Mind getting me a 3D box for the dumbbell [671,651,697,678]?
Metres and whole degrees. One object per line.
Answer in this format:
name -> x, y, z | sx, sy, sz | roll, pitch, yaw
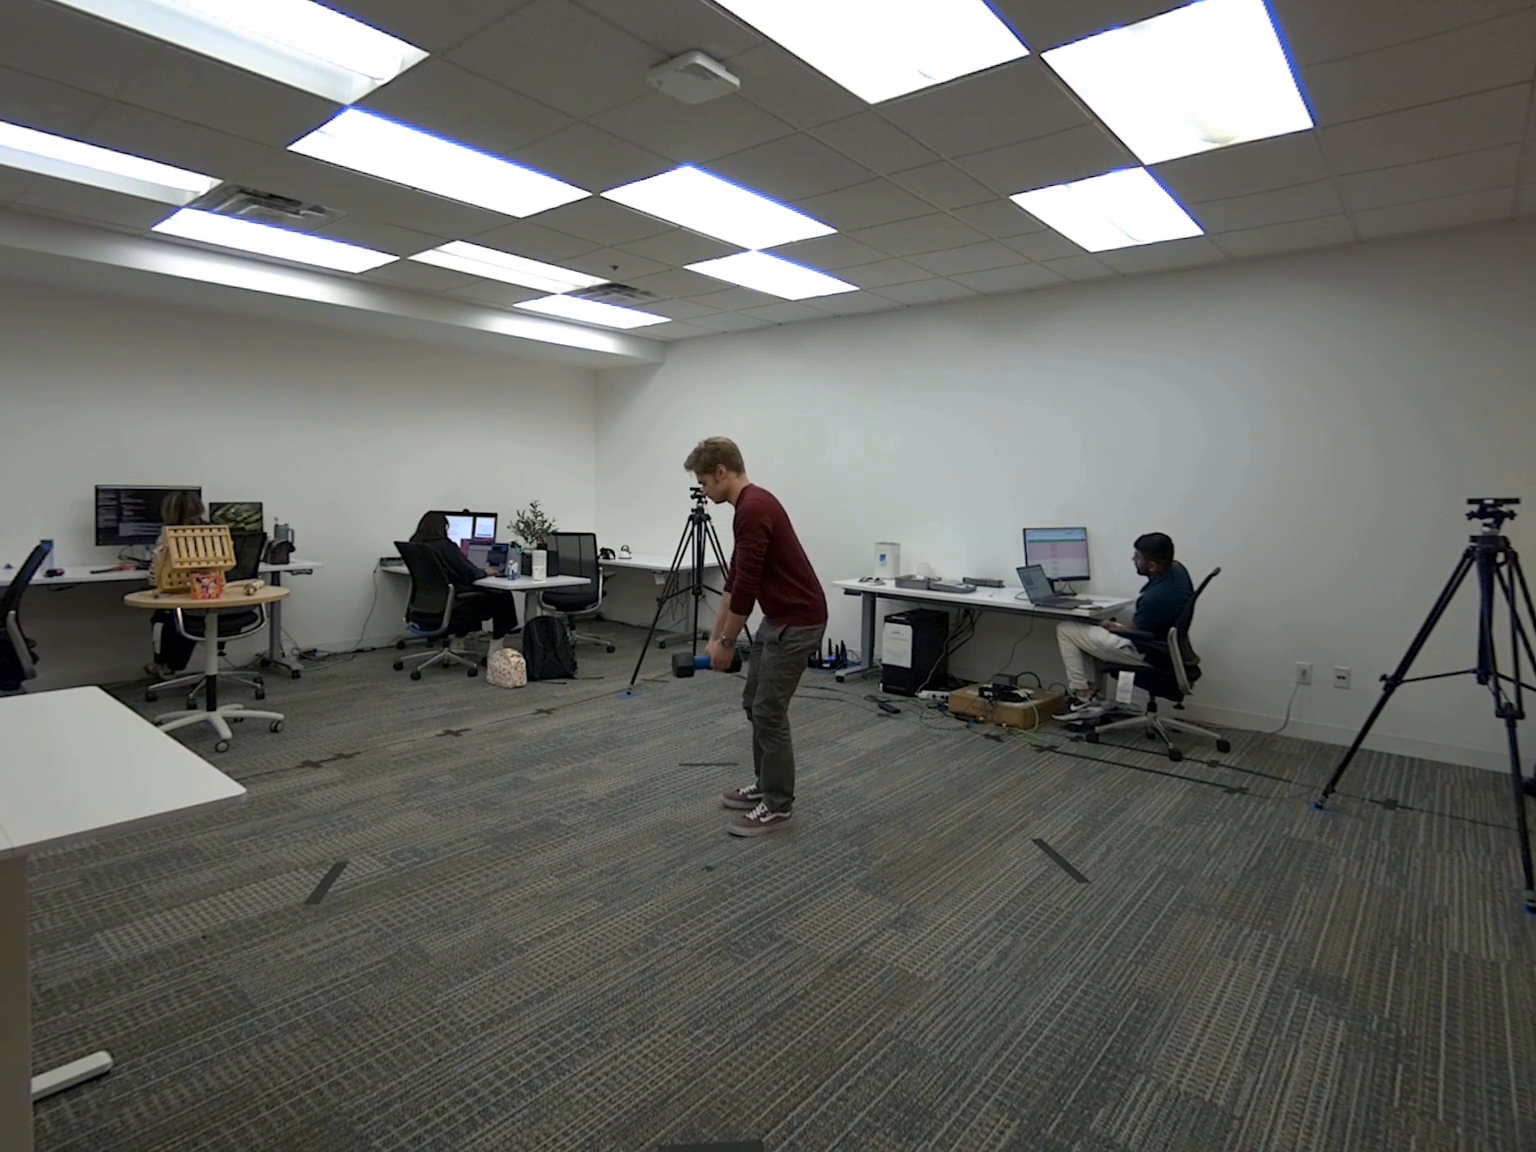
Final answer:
dumbbell -> -0.267, 0.374, 3.656 | 0.288, 0.127, 0.107 | -3, -35, -17
